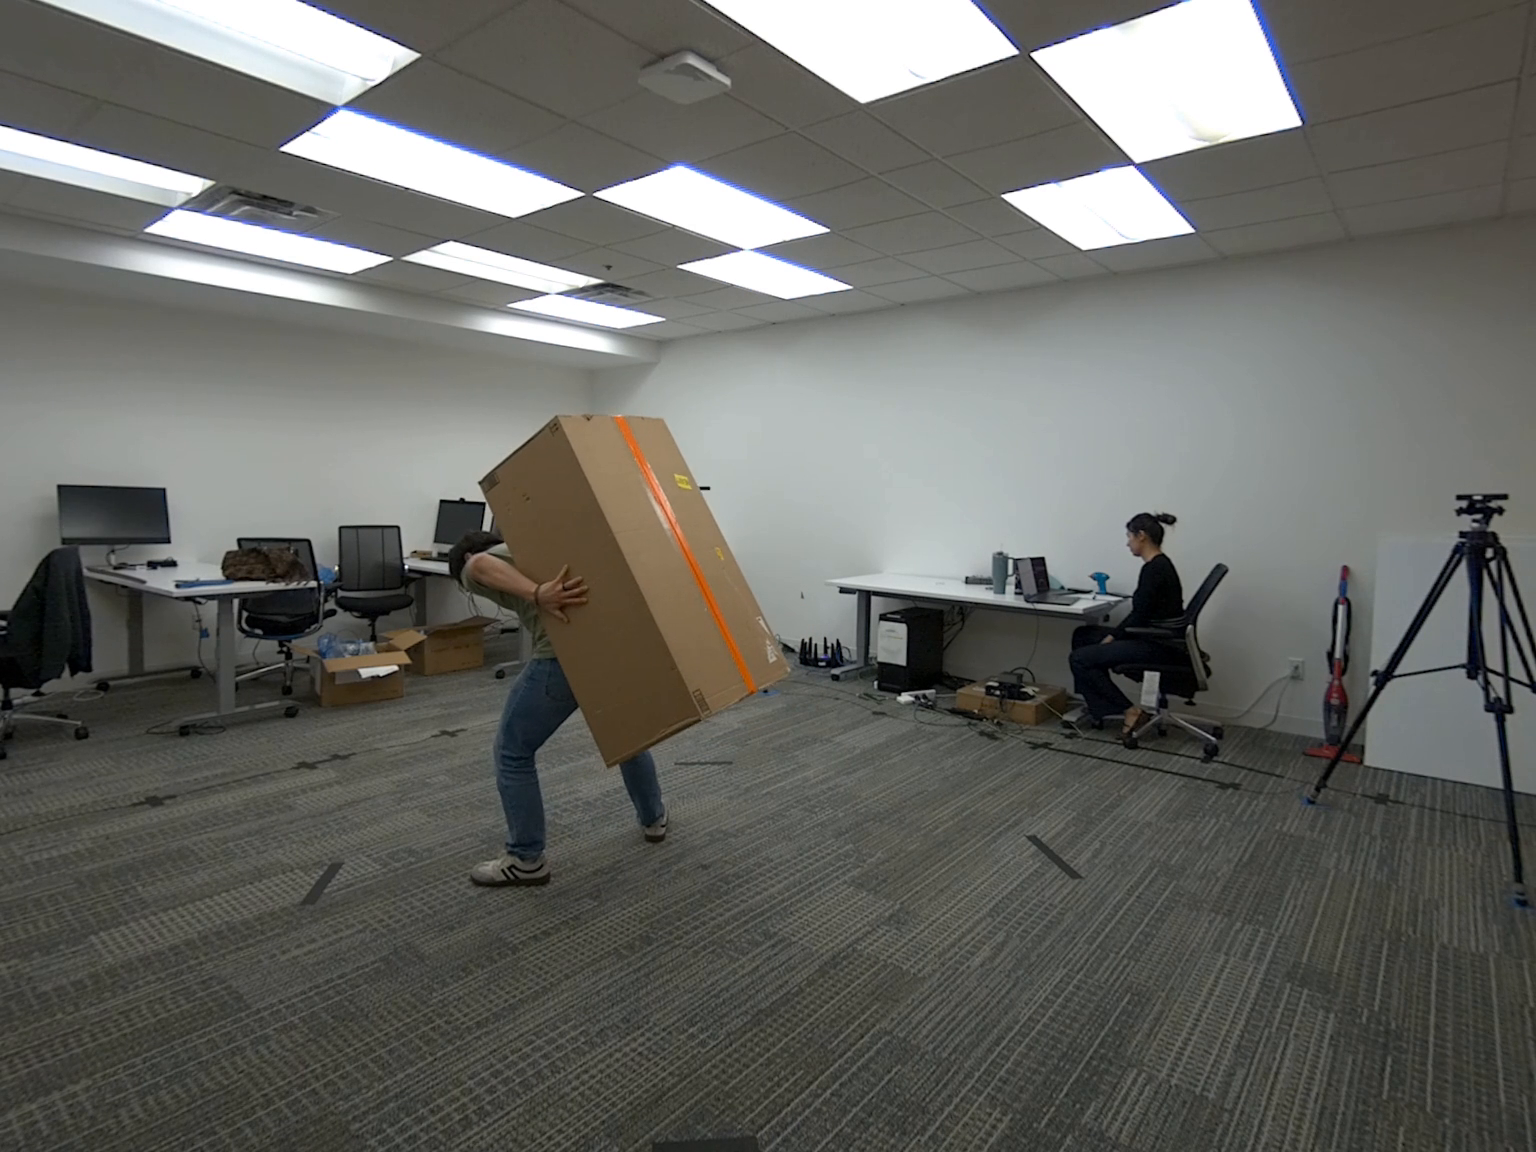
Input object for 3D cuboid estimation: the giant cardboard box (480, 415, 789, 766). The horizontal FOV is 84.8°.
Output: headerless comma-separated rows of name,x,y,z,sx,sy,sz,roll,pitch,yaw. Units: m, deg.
giant cardboard box,-0.446,0.005,2.849,0.430,1.041,0.564,-33,-11,30
